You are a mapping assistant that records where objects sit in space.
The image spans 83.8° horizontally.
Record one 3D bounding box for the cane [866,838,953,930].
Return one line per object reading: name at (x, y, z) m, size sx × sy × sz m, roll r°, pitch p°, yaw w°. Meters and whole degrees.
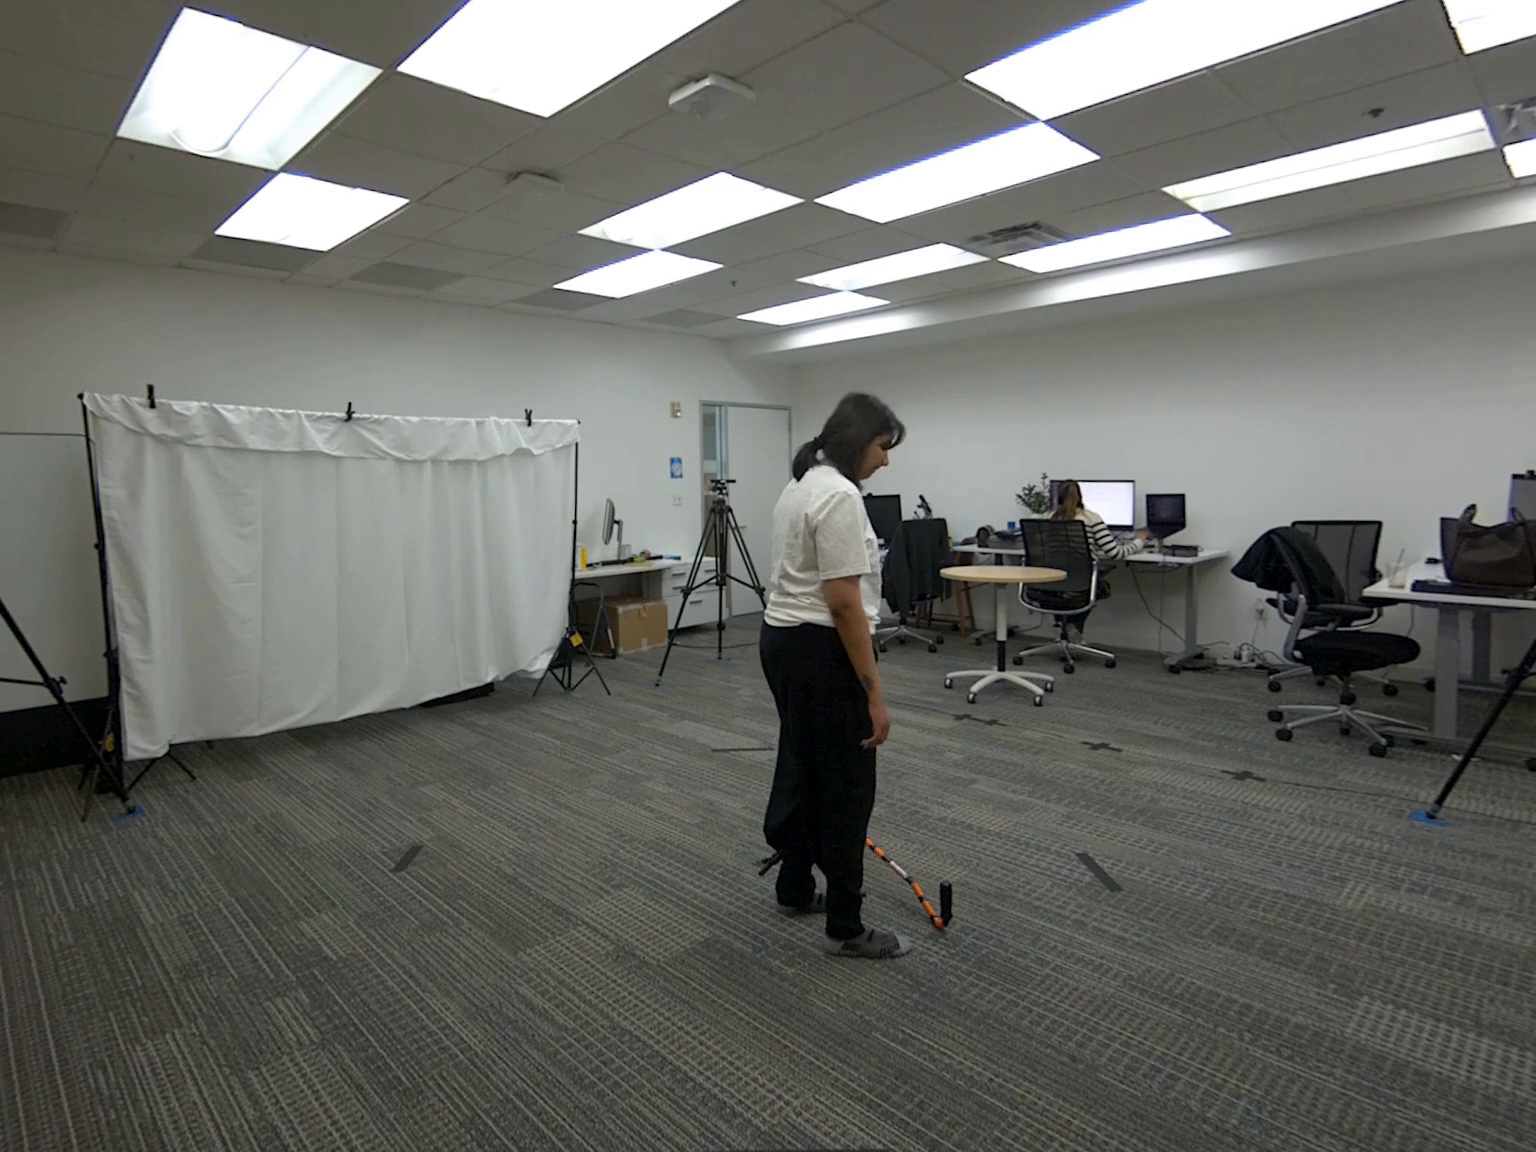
cane at (0.361, 0.957, 3.017) m, size 0.149 × 0.205 × 0.931 m, roll 0°, pitch 8°, yaw -22°
